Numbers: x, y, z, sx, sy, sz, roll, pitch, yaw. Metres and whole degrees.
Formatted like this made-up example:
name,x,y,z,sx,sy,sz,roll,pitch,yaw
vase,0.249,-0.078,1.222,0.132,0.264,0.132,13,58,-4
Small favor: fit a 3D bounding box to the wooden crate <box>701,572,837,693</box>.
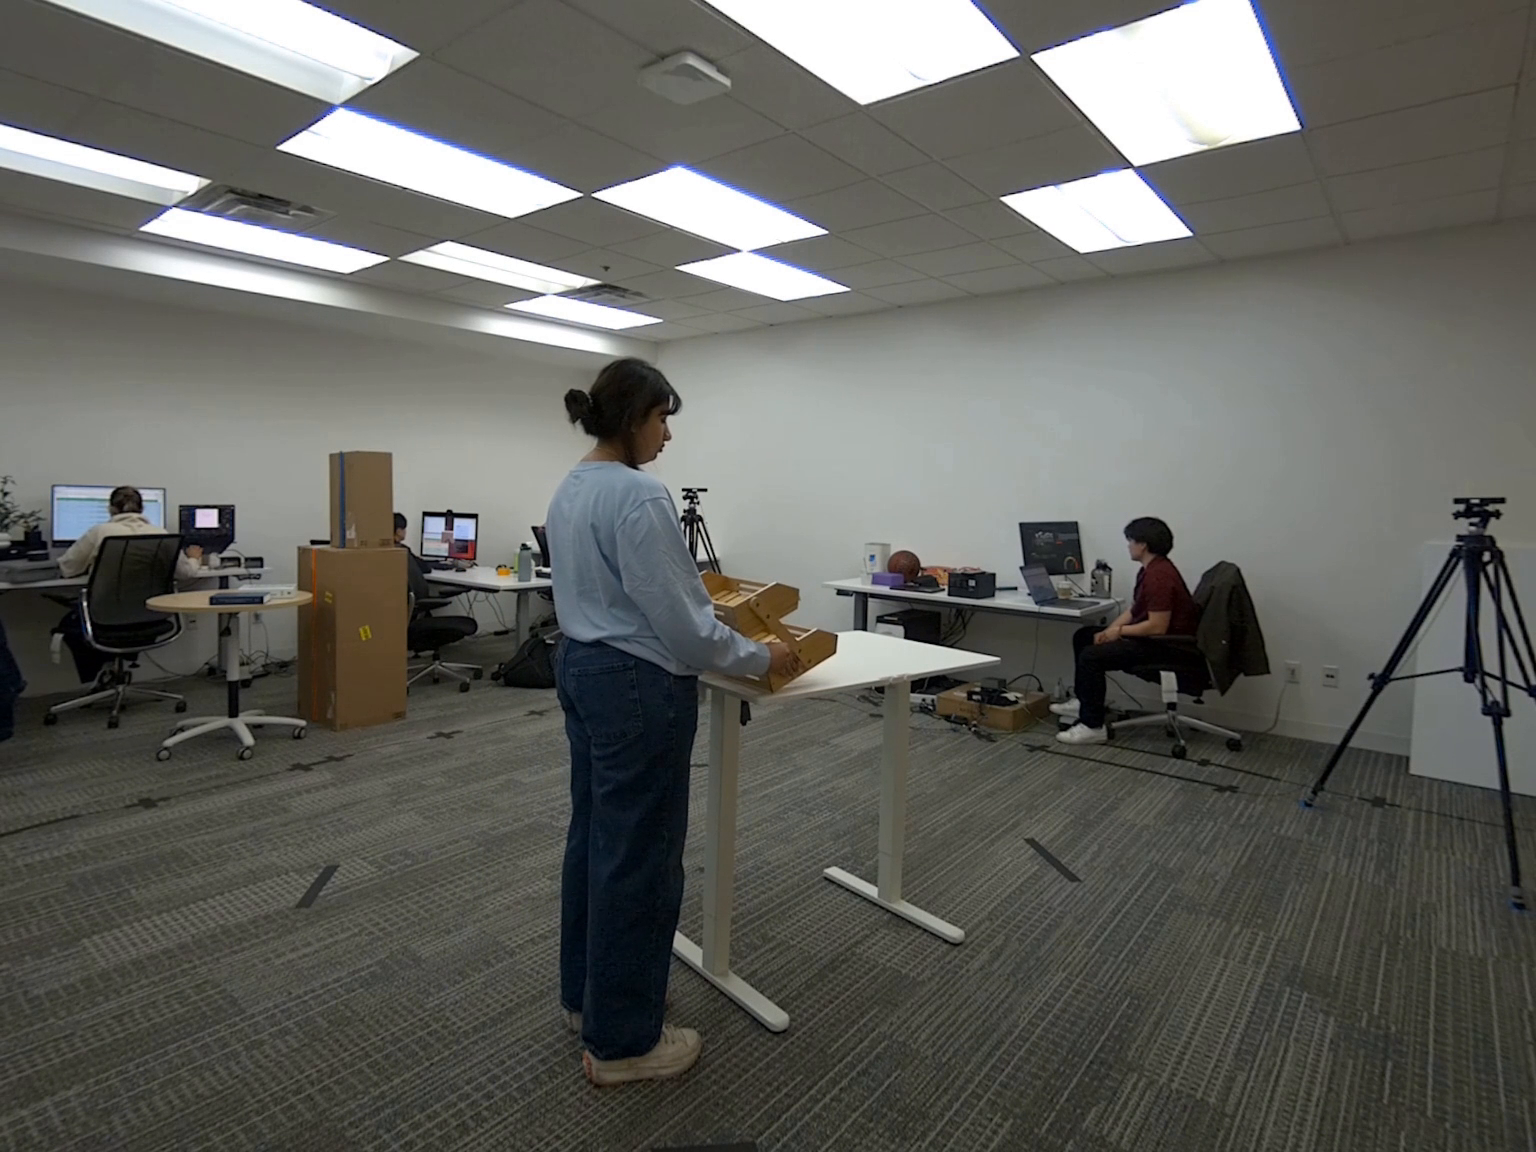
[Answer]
name,x,y,z,sx,sy,sz,roll,pitch,yaw
wooden crate,-0.052,0.117,2.247,0.297,0.268,0.335,-27,21,-33
